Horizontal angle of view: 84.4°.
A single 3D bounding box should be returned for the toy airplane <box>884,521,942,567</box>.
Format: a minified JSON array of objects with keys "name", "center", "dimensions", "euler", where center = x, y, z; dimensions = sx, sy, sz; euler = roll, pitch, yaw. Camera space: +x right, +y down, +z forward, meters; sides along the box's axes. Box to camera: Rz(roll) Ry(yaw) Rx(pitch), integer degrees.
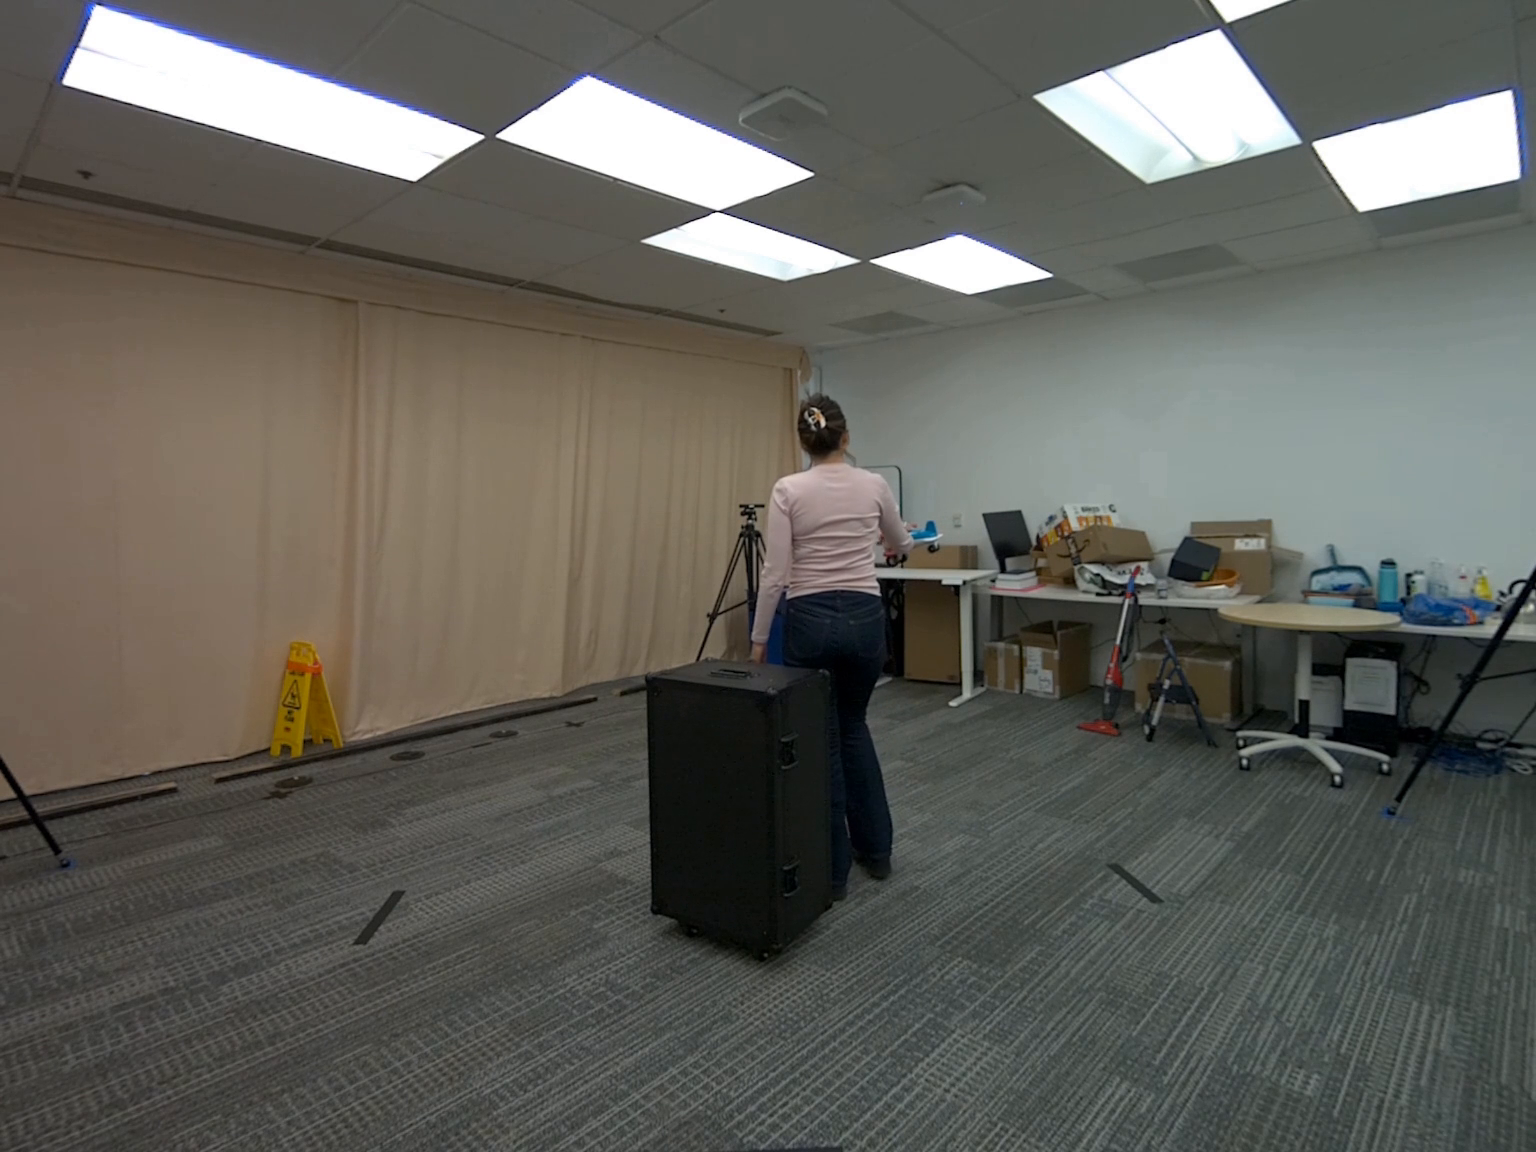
[{"name":"toy airplane","center":[0.612,-0.148,3.569],"dimensions":[0.261,0.157,0.249],"euler":[-23,-1,9]}]
